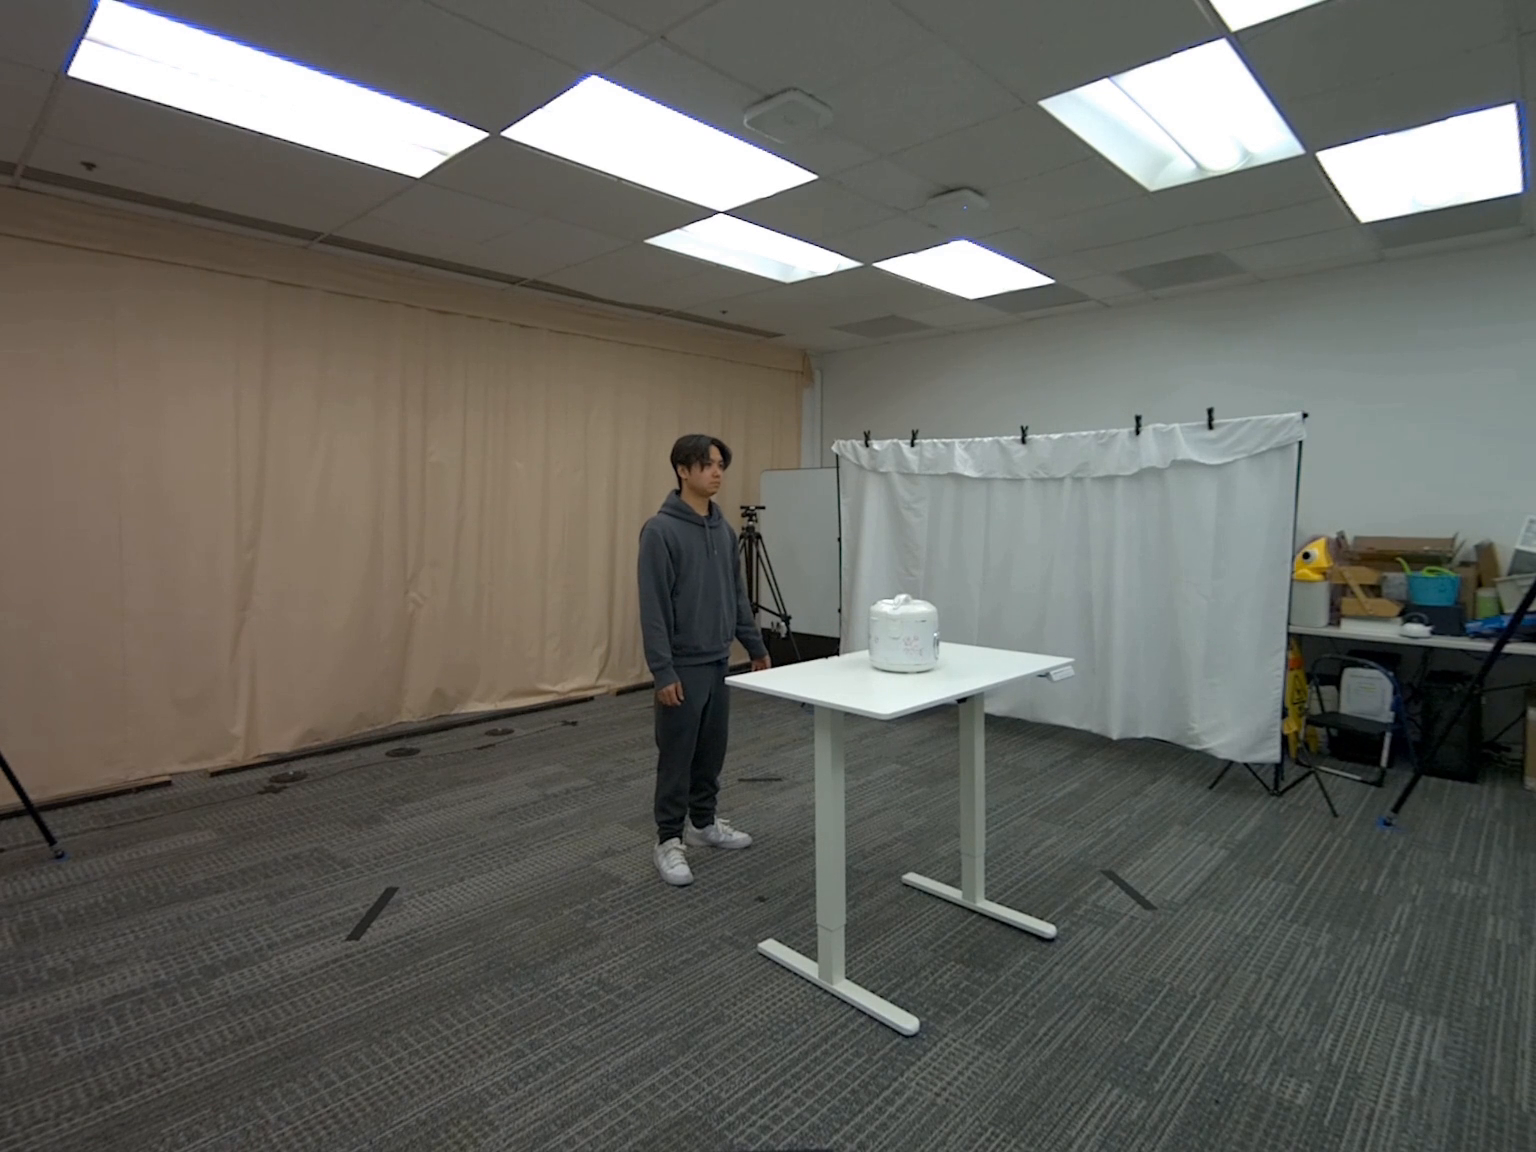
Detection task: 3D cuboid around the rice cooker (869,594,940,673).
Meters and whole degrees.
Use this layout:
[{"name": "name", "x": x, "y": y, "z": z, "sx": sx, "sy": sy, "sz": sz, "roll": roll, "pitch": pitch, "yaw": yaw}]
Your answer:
[{"name": "rice cooker", "x": 0.430, "y": 0.175, "z": 2.621, "sx": 0.223, "sy": 0.232, "sz": 0.215, "roll": -1, "pitch": 4, "yaw": 26}]
